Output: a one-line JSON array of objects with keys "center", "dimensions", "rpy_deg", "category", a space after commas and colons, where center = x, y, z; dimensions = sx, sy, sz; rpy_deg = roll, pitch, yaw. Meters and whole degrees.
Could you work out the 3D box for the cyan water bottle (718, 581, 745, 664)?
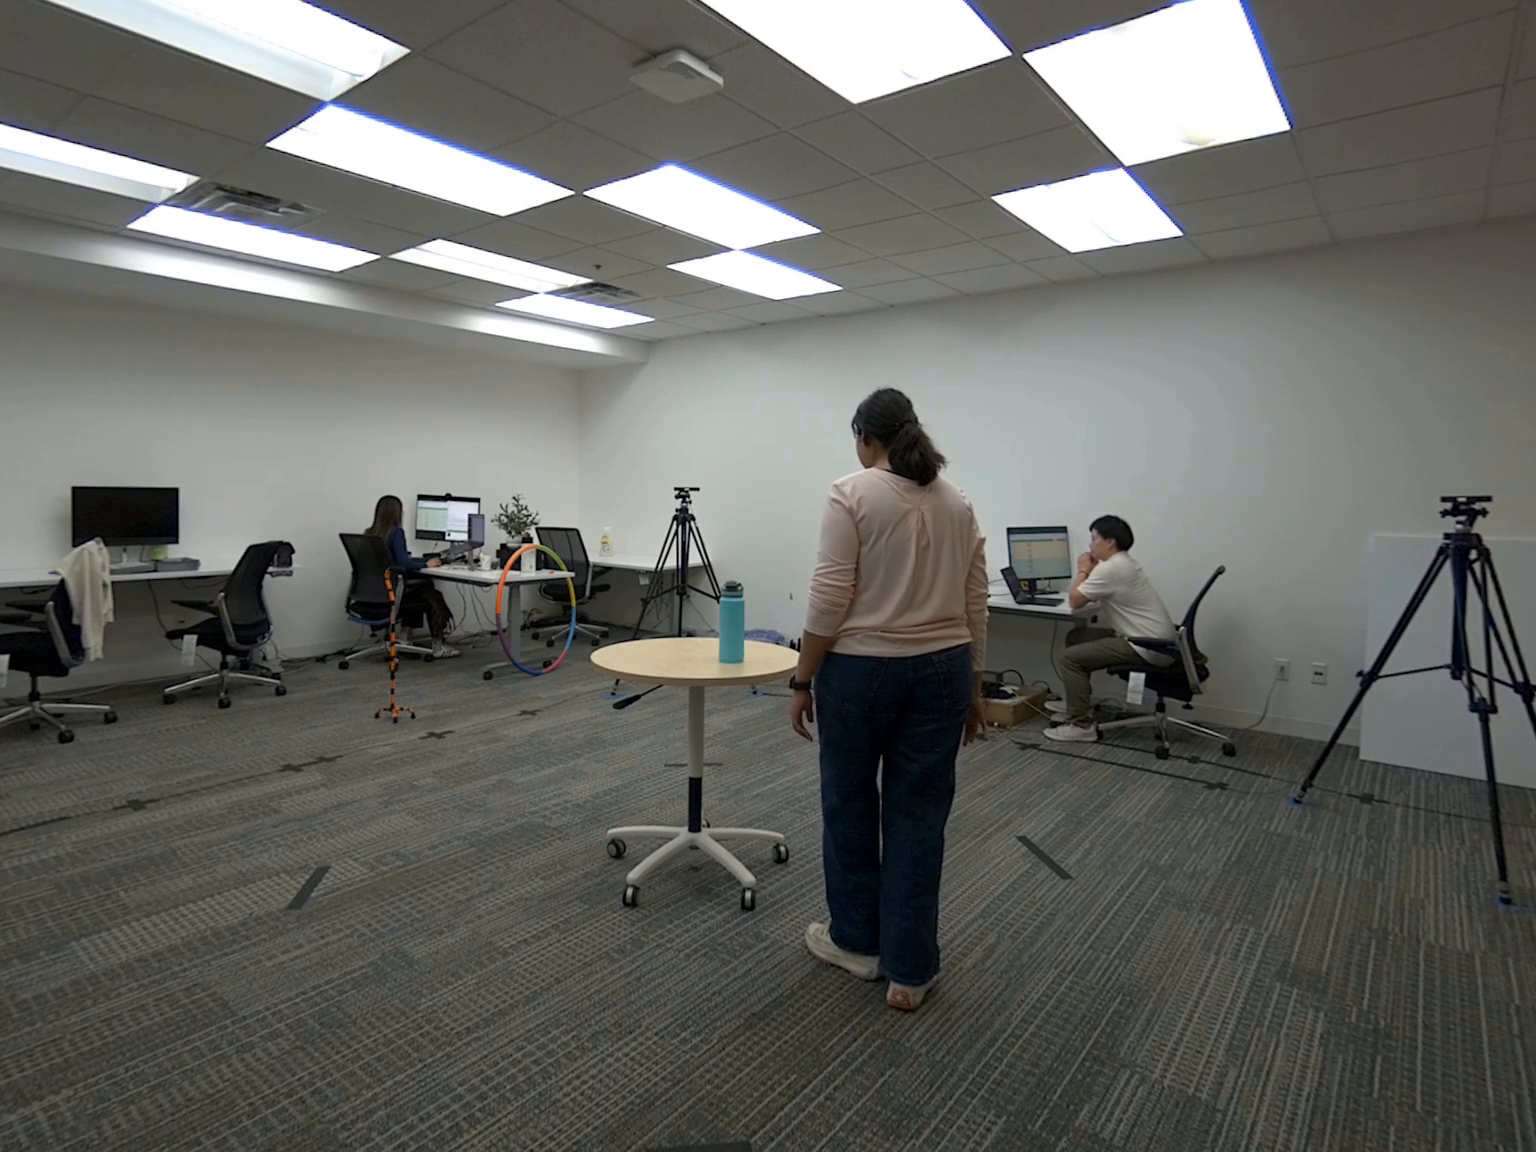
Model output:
[{"center": [-0.138, 0.155, 2.978], "dimensions": [0.092, 0.283, 0.093], "rpy_deg": [1, 3, -2], "category": "cyan water bottle"}]
